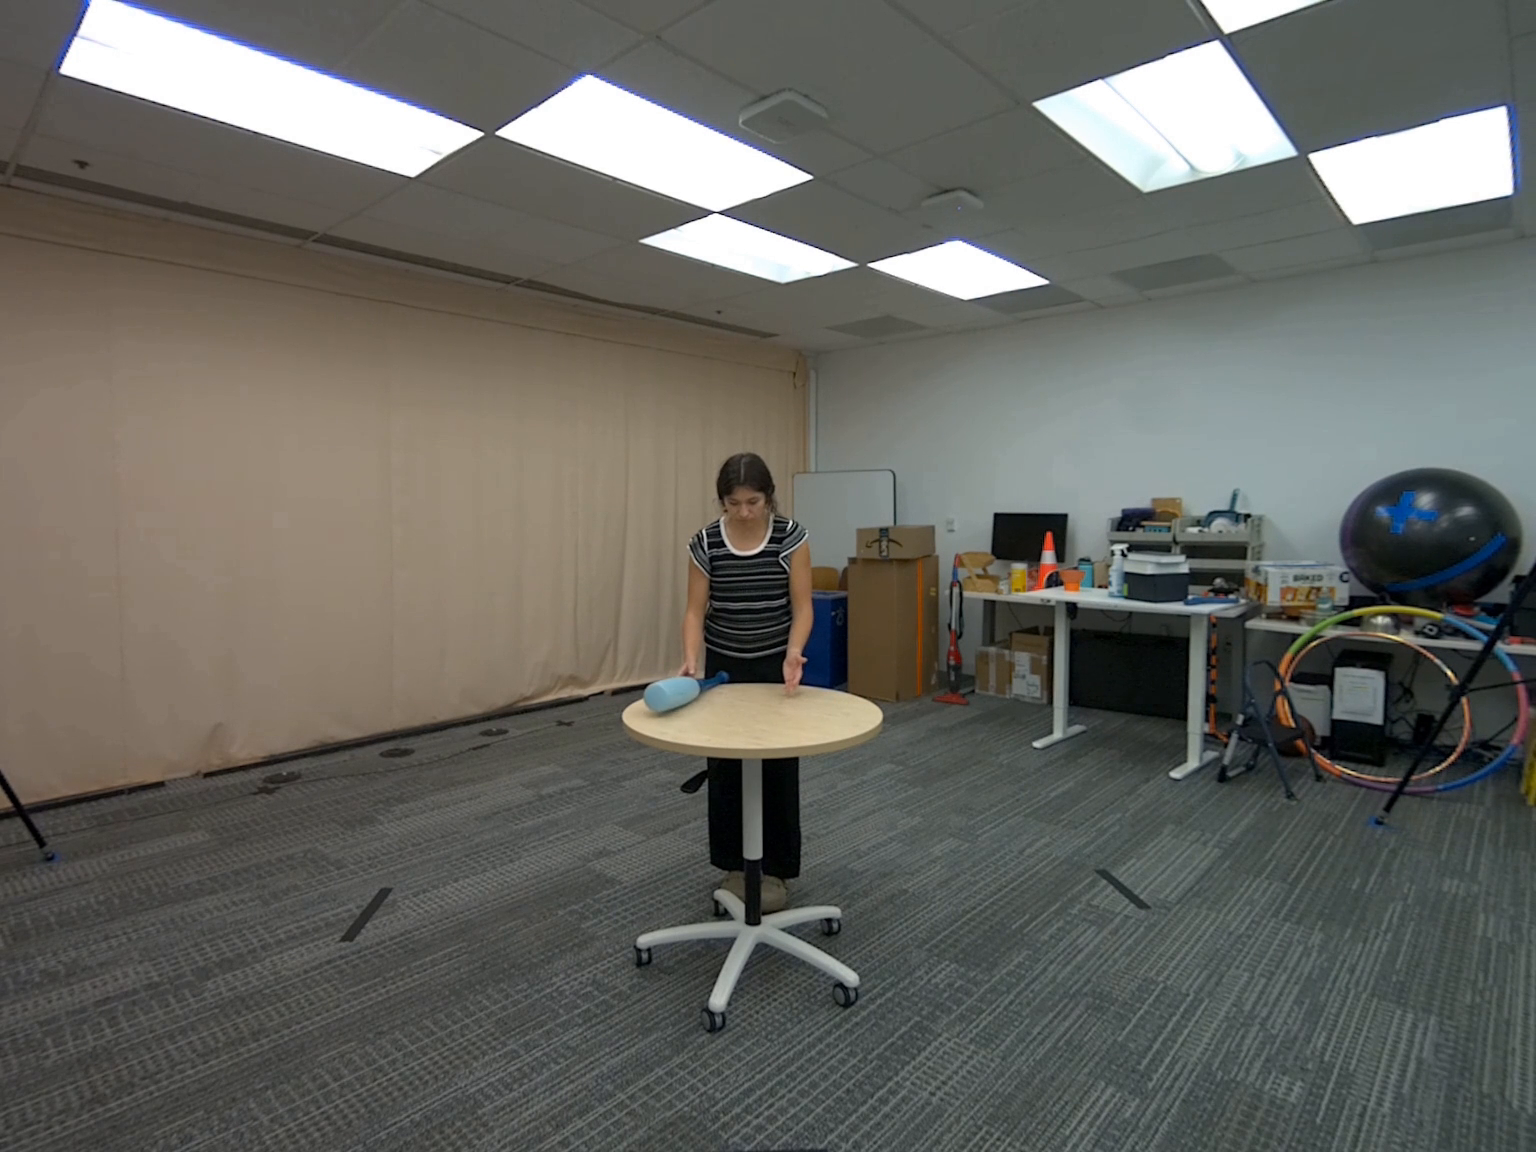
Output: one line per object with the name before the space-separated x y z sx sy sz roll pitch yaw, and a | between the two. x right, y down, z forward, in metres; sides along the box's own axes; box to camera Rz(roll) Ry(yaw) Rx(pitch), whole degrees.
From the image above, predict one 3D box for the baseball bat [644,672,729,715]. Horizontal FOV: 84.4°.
baseball bat | -0.205 0.344 2.674 0.091 0.089 0.531 1 0 18
